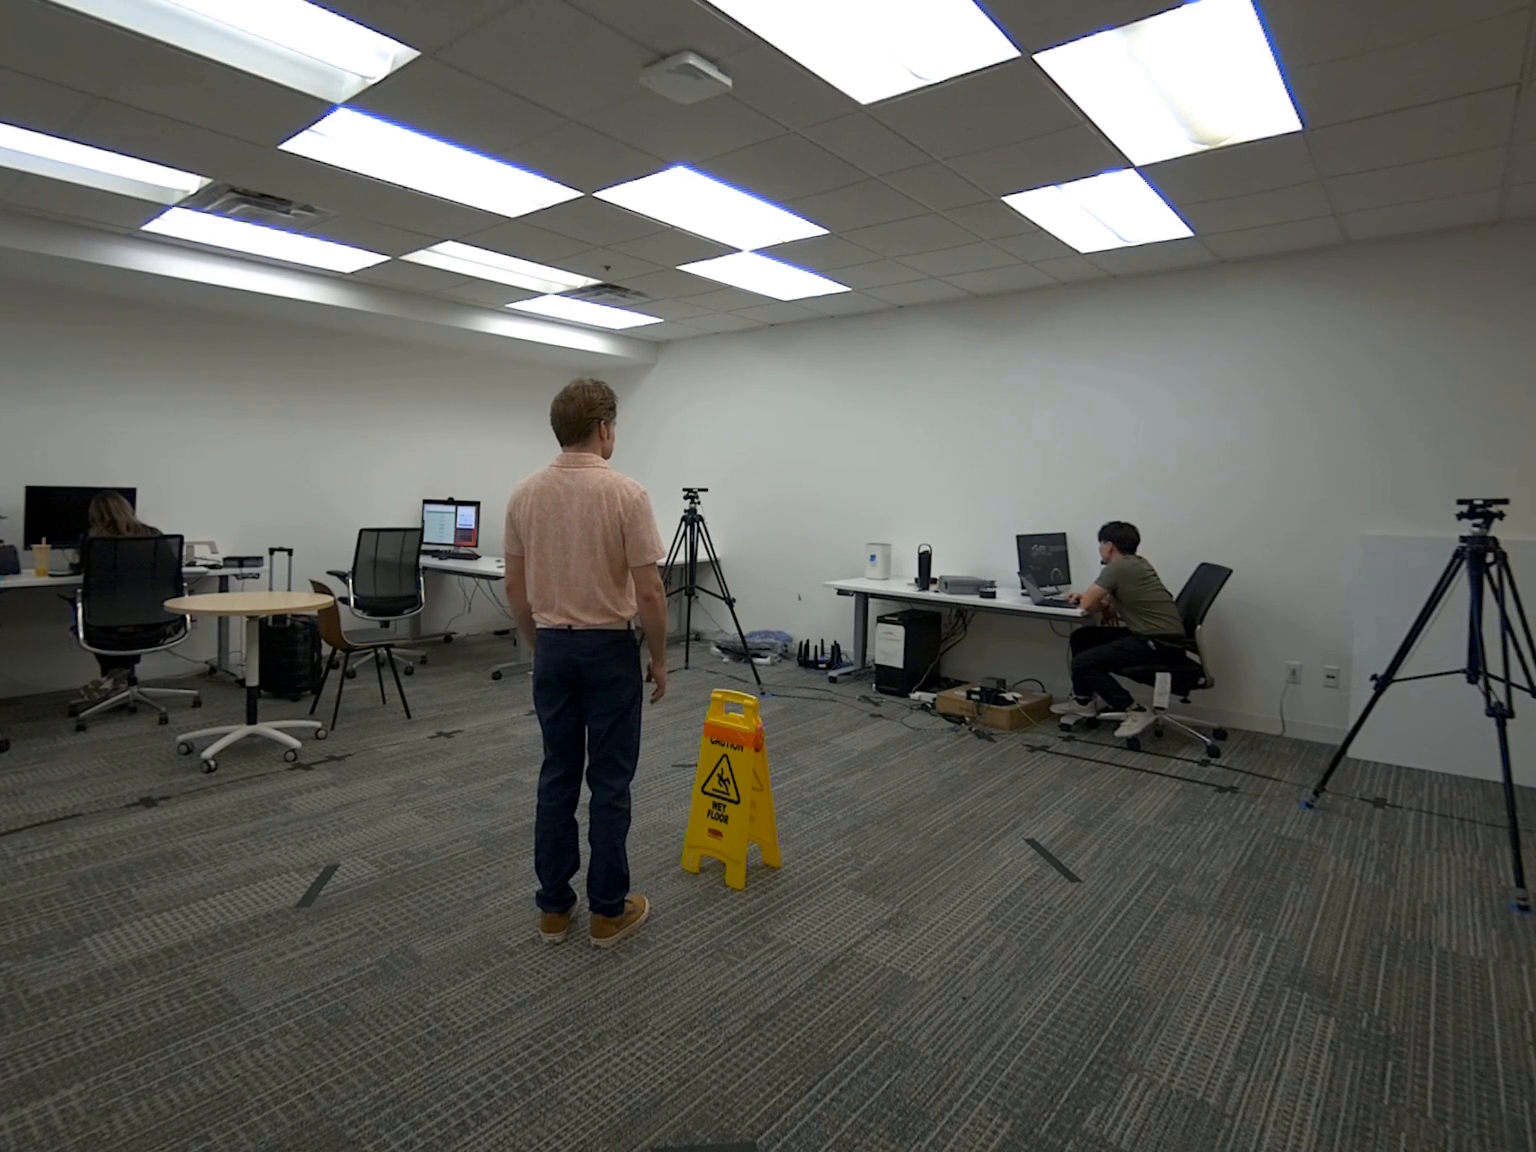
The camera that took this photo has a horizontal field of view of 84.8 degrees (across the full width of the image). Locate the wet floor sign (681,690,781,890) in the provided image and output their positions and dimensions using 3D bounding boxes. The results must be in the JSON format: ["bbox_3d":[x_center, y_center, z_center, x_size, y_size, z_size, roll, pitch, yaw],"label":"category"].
[{"bbox_3d":[-0.138,0.744,3.102,0.291,0.644,0.281,3,4,36],"label":"wet floor sign"}]
